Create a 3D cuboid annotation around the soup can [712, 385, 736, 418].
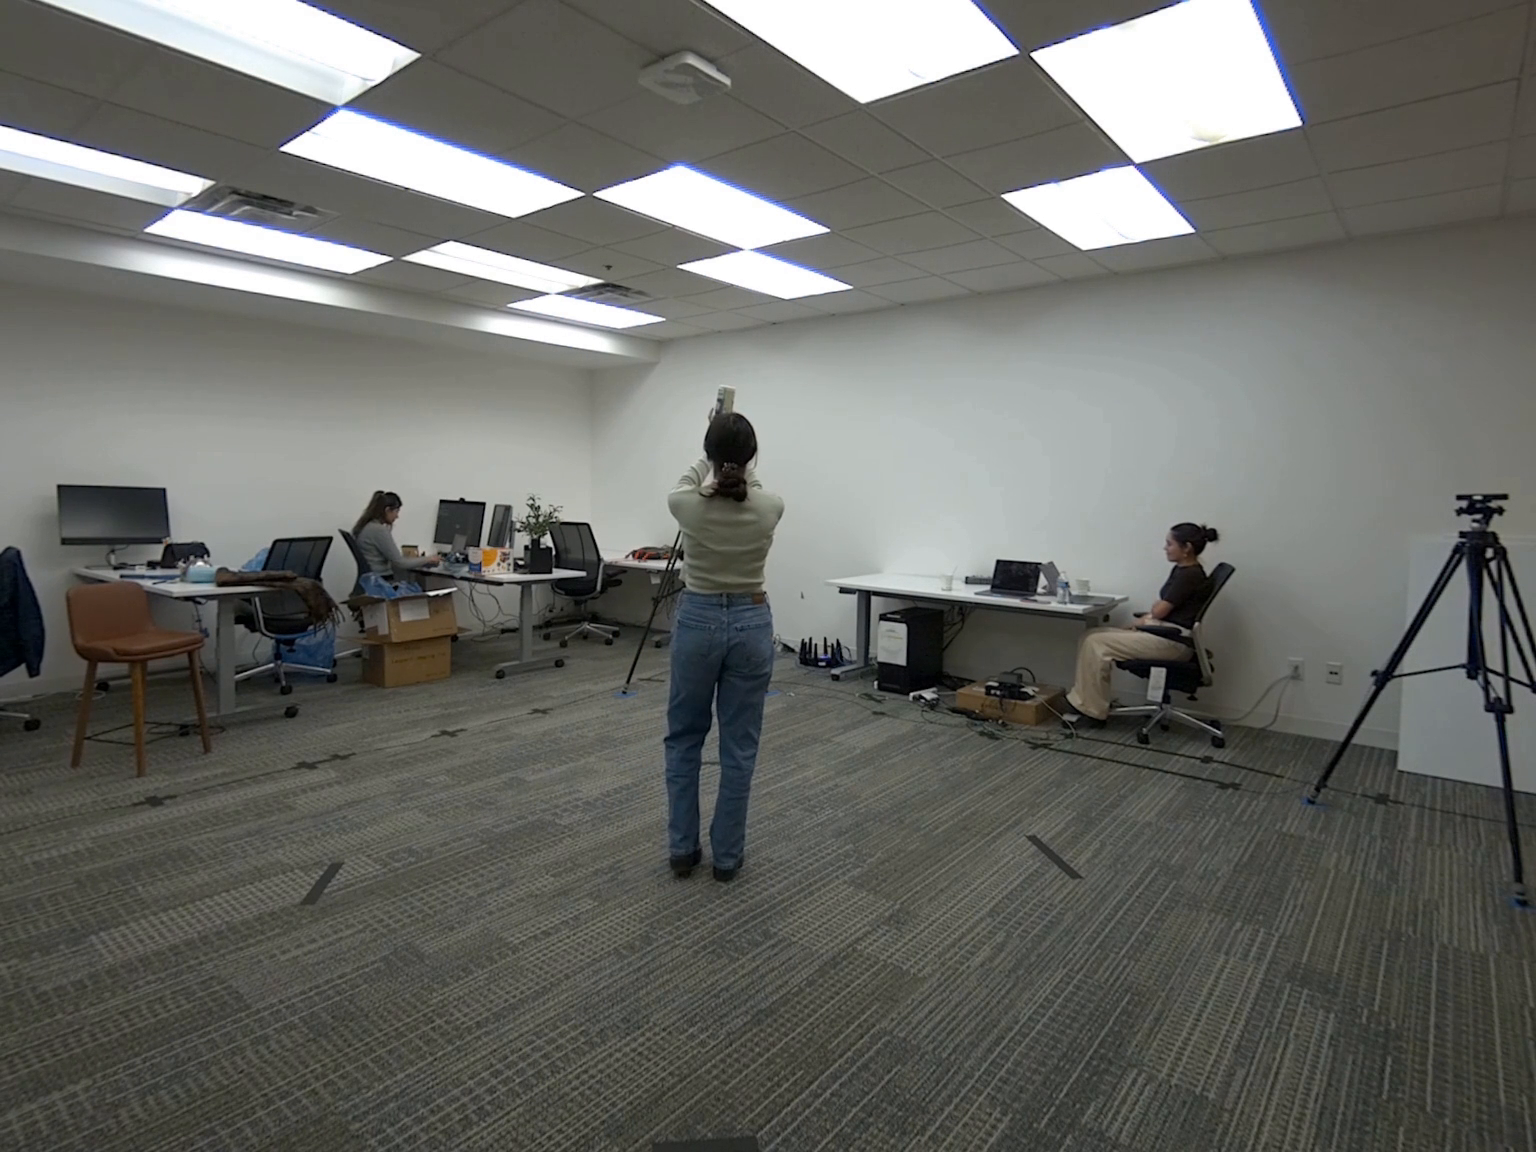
[{"bbox_3d":[-0.177,-0.687,3.333,0.067,0.121,0.067,10,6,-3],"label":"soup can"}]
